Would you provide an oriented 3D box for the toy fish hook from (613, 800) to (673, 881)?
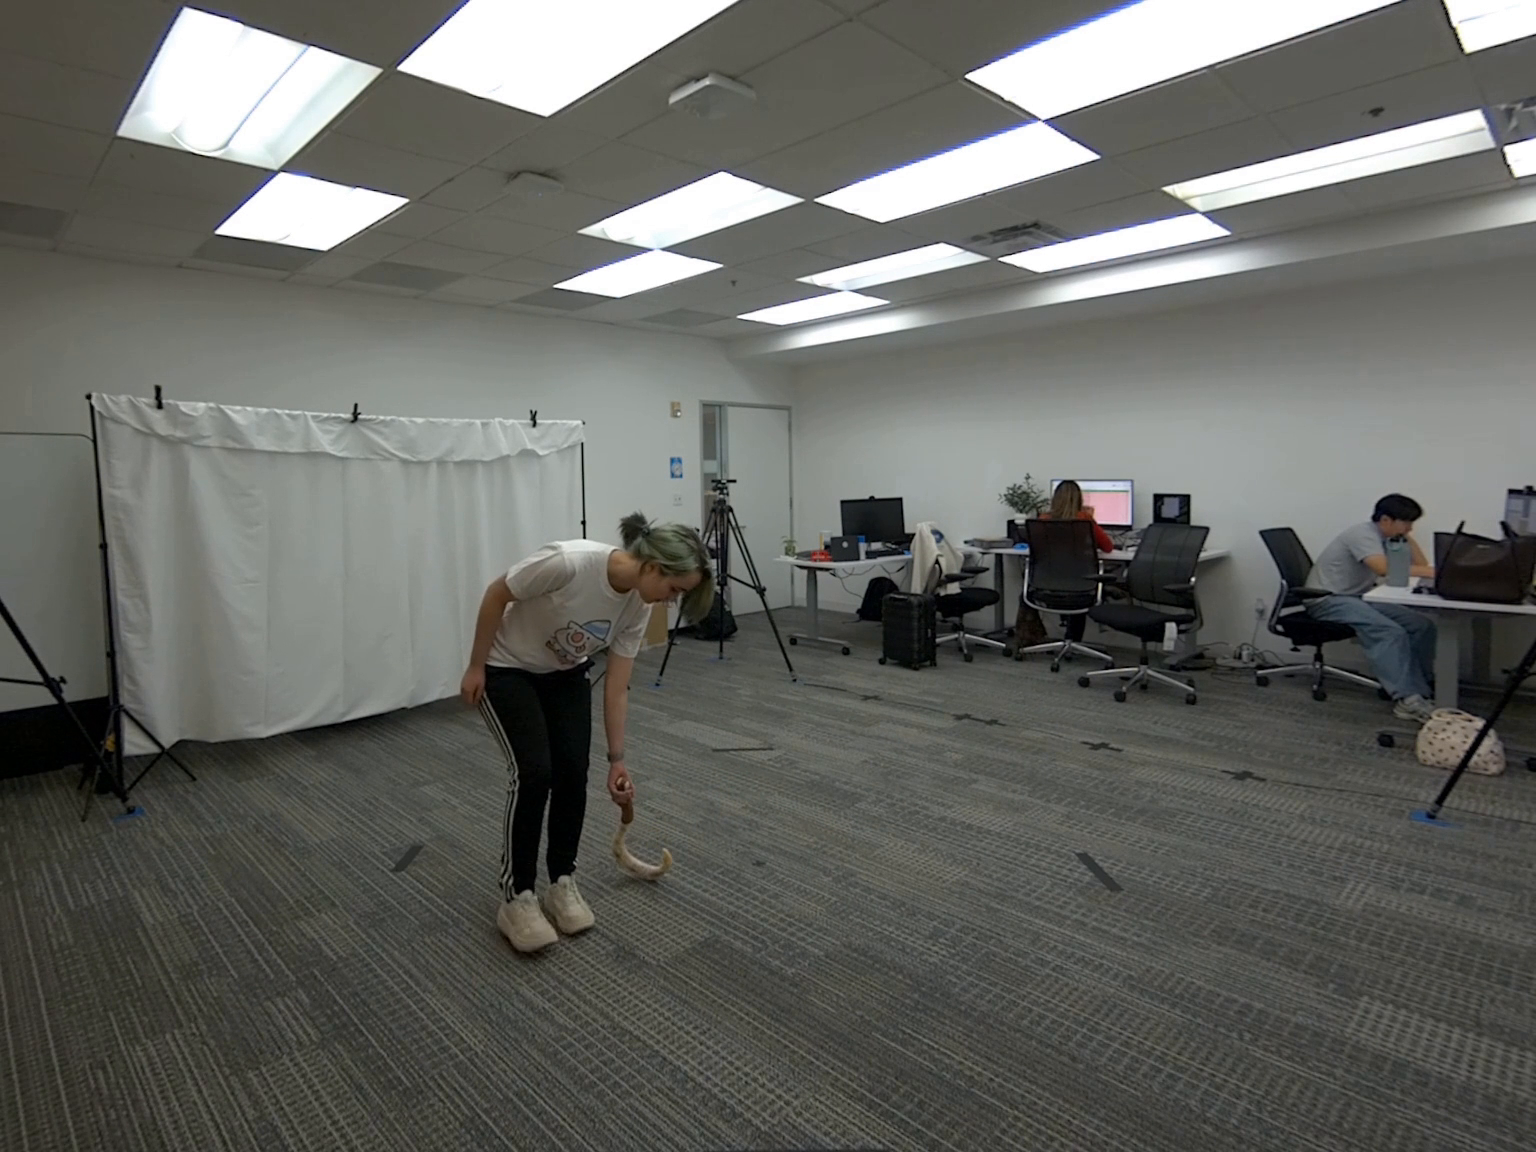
[{"bbox_3d":[-0.430,0.859,2.864,0.228,0.493,0.049,10,38,13],"label":"toy fish hook"}]
